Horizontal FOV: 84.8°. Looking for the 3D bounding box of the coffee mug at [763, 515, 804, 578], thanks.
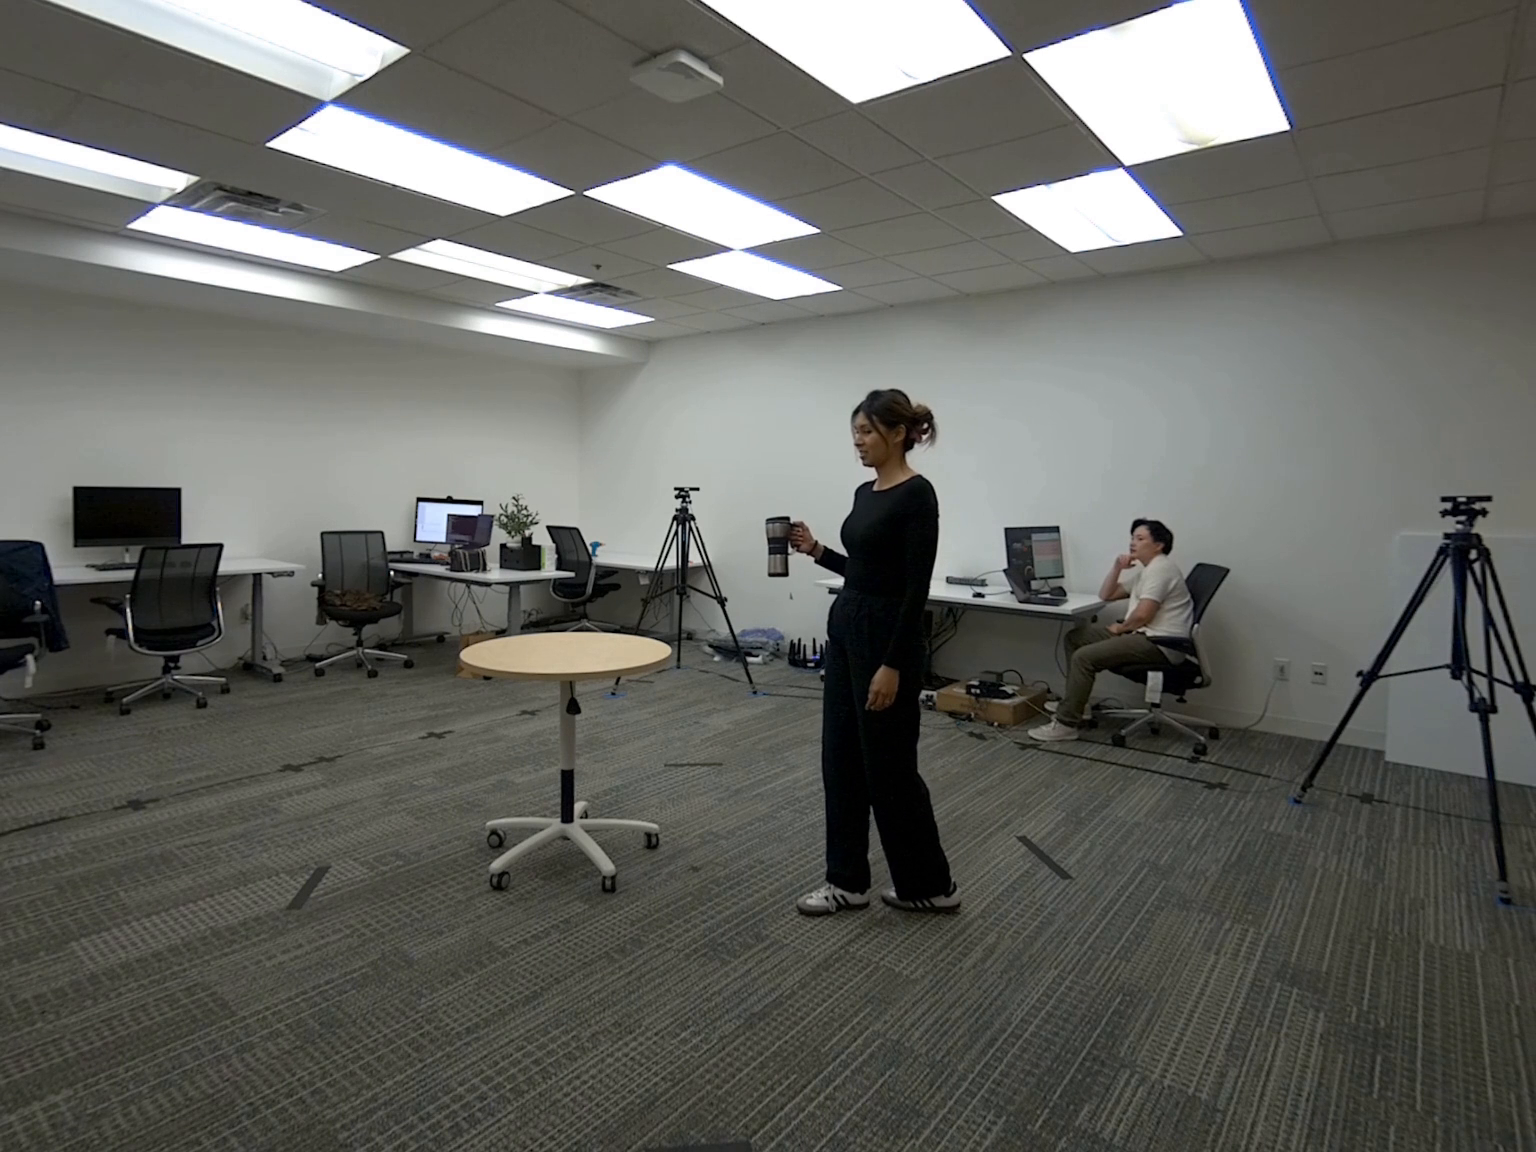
[{"bbox_3d":[0.053,-0.102,2.901,0.123,0.204,0.086,-3,-7,11],"label":"coffee mug"}]
